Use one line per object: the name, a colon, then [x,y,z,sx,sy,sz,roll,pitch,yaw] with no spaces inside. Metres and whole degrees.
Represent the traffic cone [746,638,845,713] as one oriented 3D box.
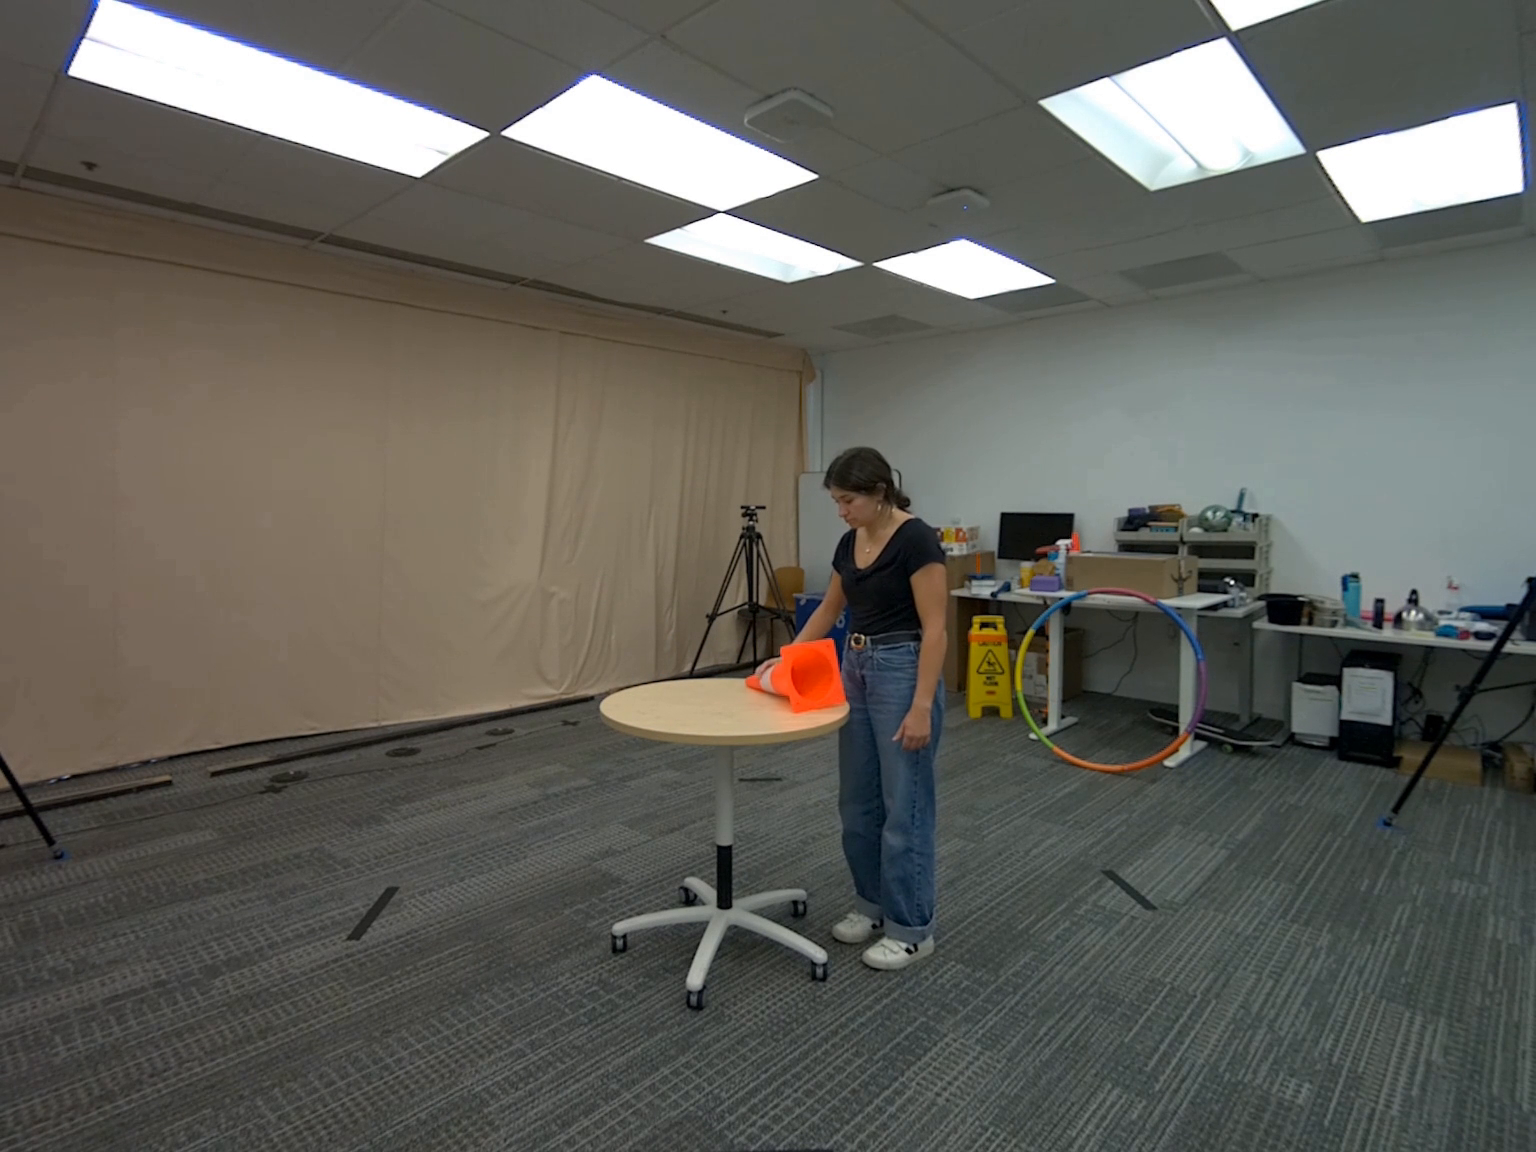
traffic cone: [0.048,0.335,2.682,0.198,0.206,0.392,-9,-5,-33]
